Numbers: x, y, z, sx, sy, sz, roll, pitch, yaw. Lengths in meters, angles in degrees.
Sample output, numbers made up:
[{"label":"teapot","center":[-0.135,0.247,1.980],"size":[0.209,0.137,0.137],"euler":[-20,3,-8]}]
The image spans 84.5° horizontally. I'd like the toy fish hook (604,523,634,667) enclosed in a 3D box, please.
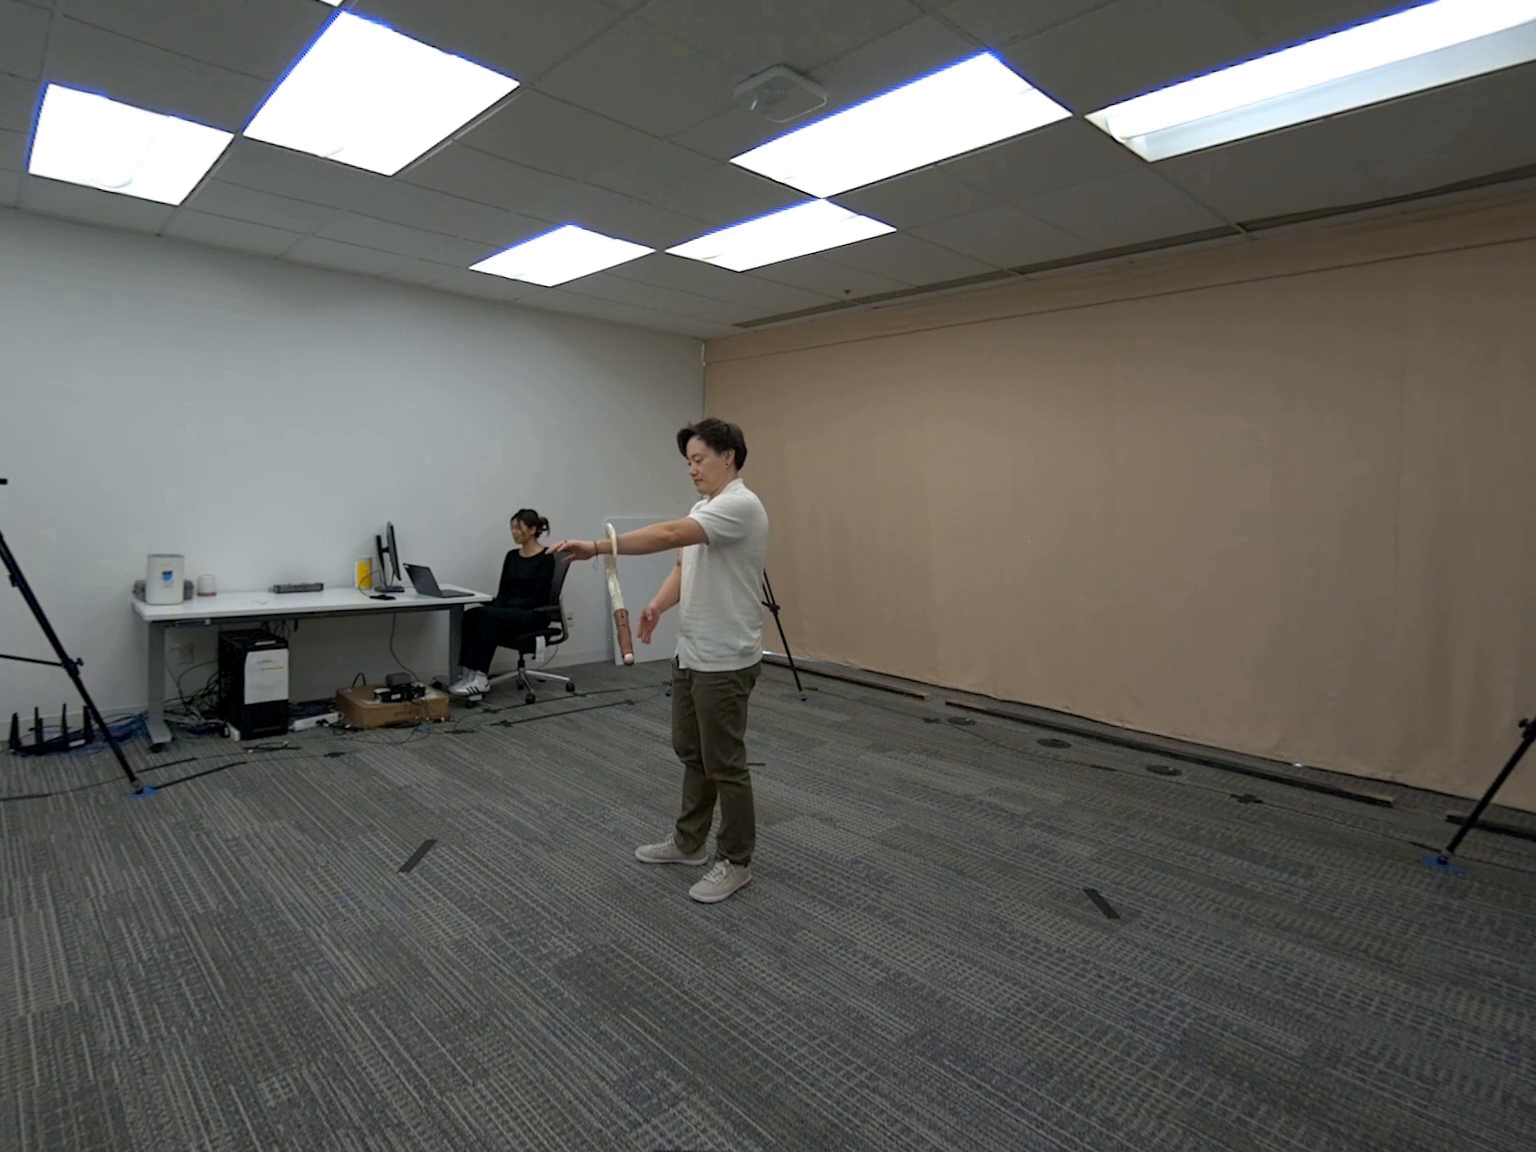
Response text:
[{"label":"toy fish hook","center":[-0.488,0.046,2.636],"size":[0.048,0.220,0.521],"euler":[-8,49,-10]}]
